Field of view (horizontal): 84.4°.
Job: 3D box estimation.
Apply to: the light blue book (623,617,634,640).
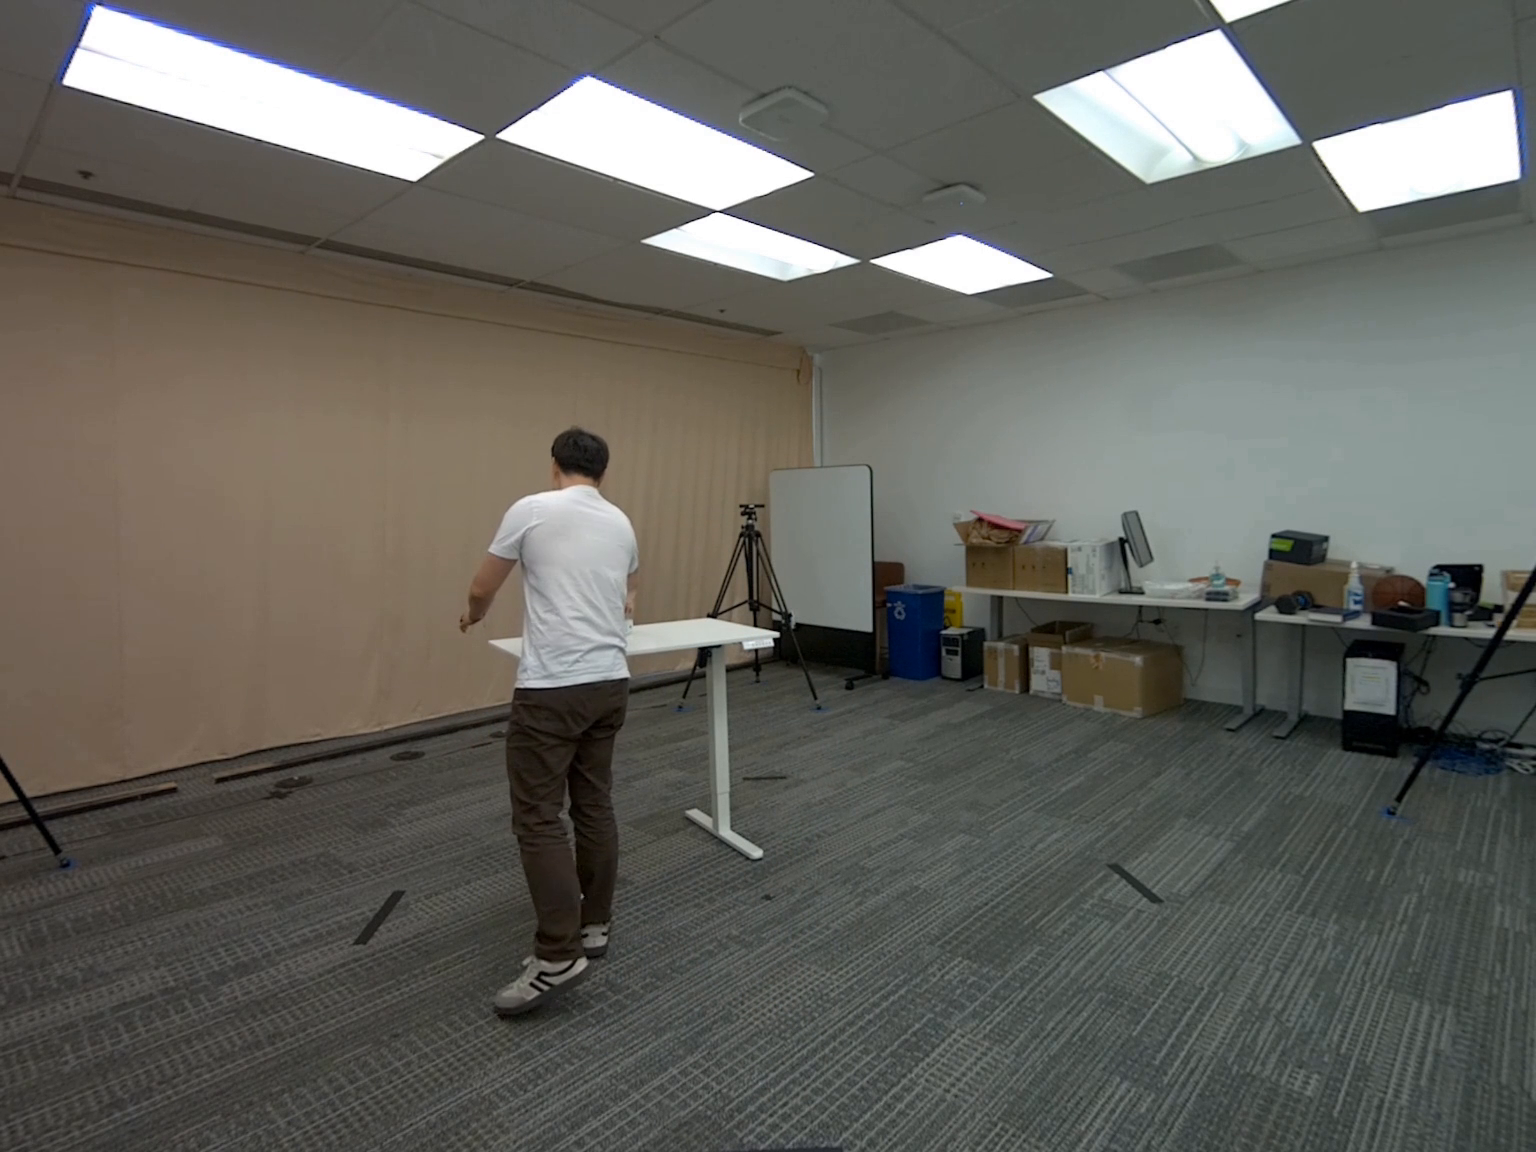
[{"bbox_3d":[-0.701,0.218,3.340,0.195,0.059,0.257,0,5,17],"label":"light blue book"}]
